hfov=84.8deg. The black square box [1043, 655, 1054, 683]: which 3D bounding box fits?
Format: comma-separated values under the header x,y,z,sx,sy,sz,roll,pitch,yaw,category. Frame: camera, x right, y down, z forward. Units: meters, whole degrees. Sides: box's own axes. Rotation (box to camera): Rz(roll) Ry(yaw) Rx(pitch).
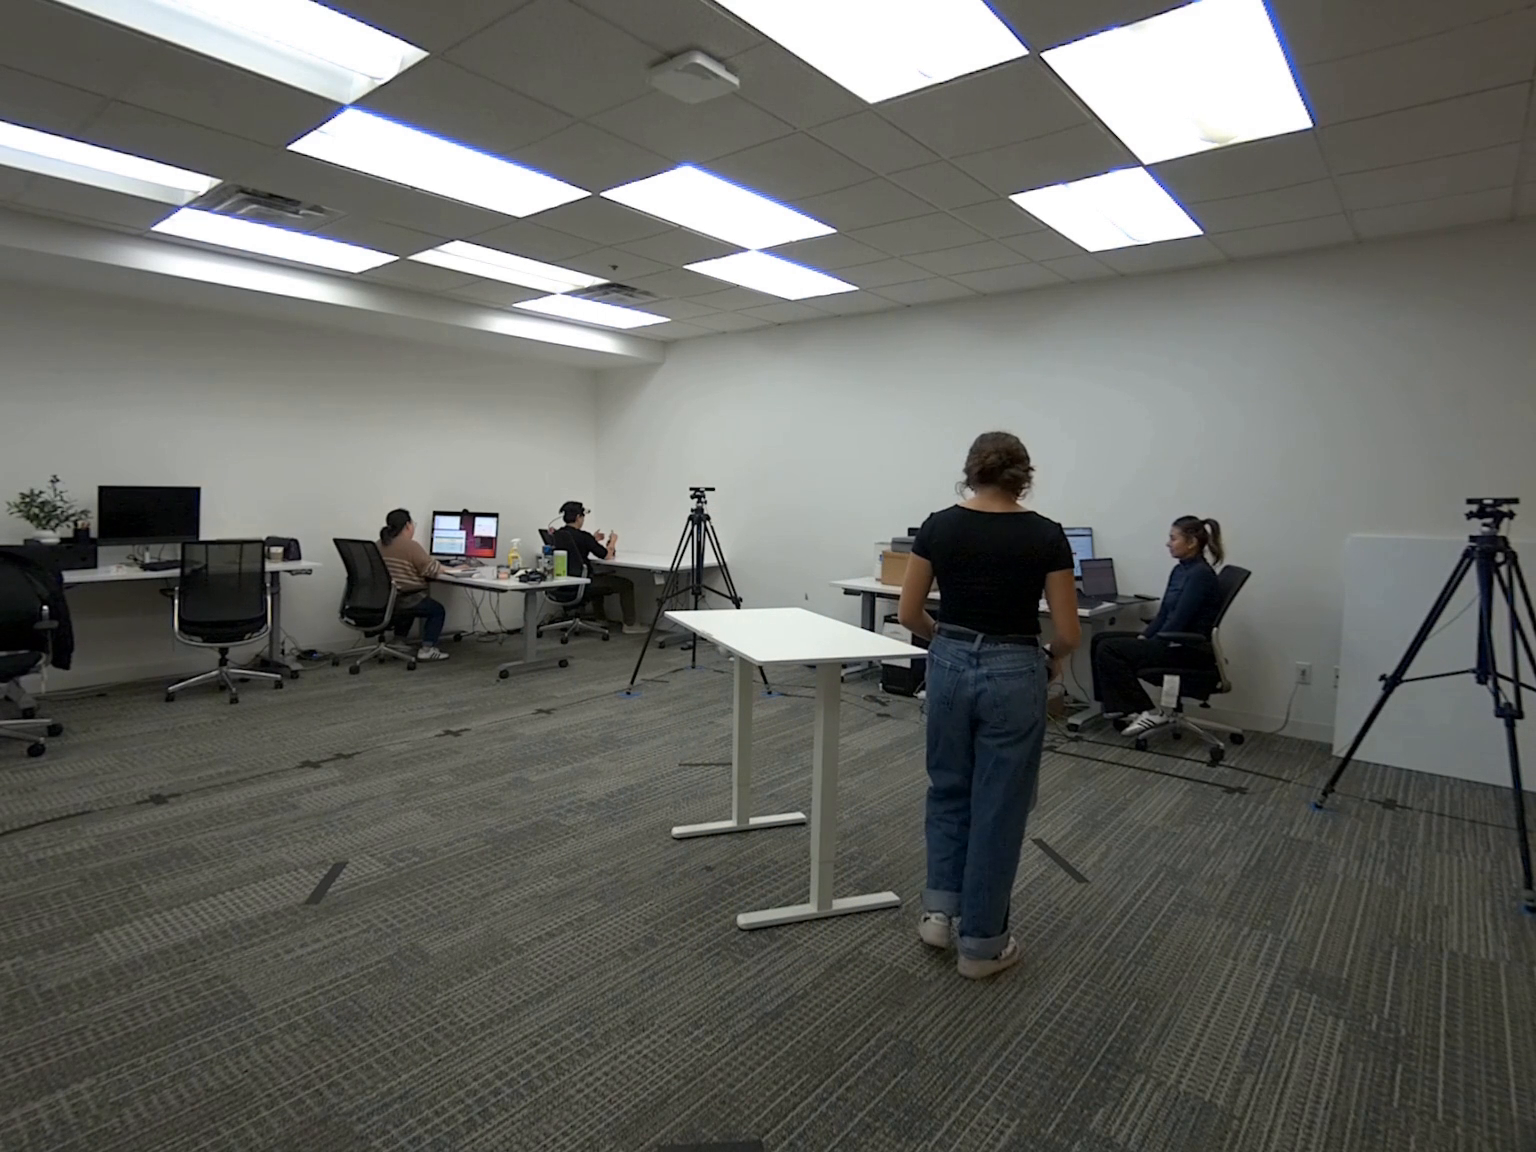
x,y,z,sx,sy,sz,roll,pitch,yaw,category
0.760,0.284,2.683,0.223,0.155,0.222,28,14,22,black square box
